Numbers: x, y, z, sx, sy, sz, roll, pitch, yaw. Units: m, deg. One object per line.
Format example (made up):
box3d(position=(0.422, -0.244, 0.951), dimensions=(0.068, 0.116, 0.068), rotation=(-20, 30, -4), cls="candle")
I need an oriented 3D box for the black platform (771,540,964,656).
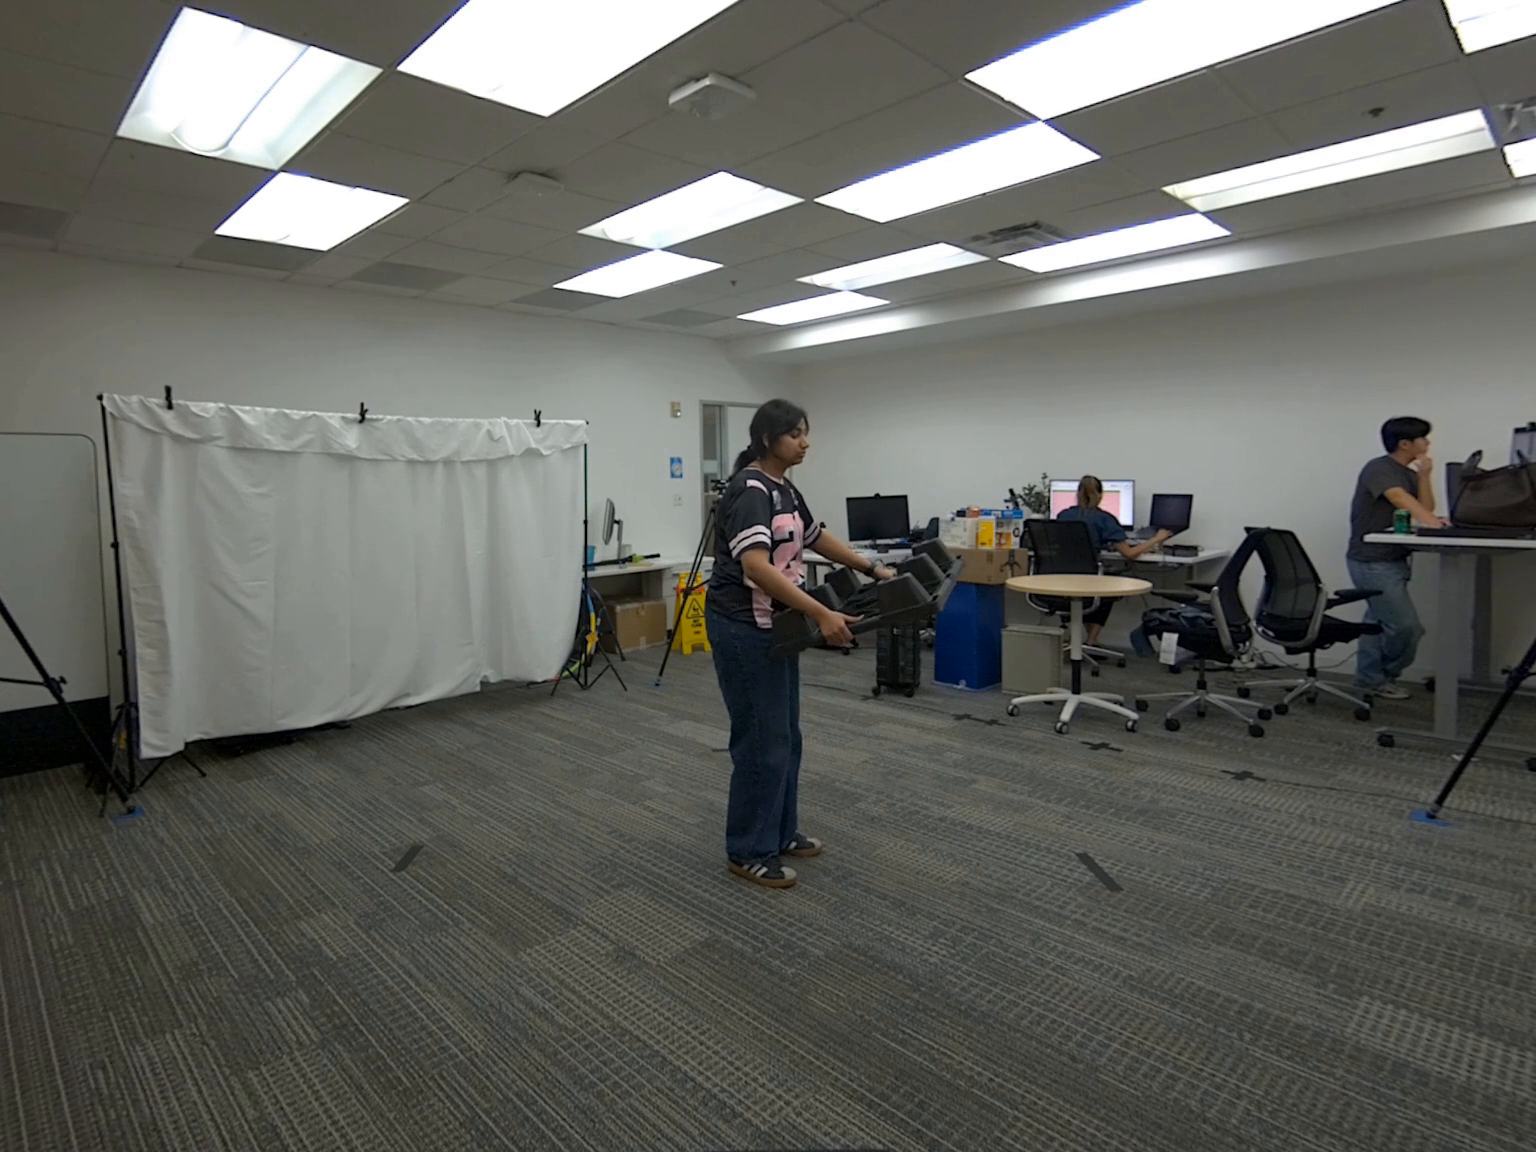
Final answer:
box3d(position=(0.362, 0.053, 3.034), dimensions=(0.613, 0.143, 0.798), rotation=(-19, 6, 22), cls="black platform")
